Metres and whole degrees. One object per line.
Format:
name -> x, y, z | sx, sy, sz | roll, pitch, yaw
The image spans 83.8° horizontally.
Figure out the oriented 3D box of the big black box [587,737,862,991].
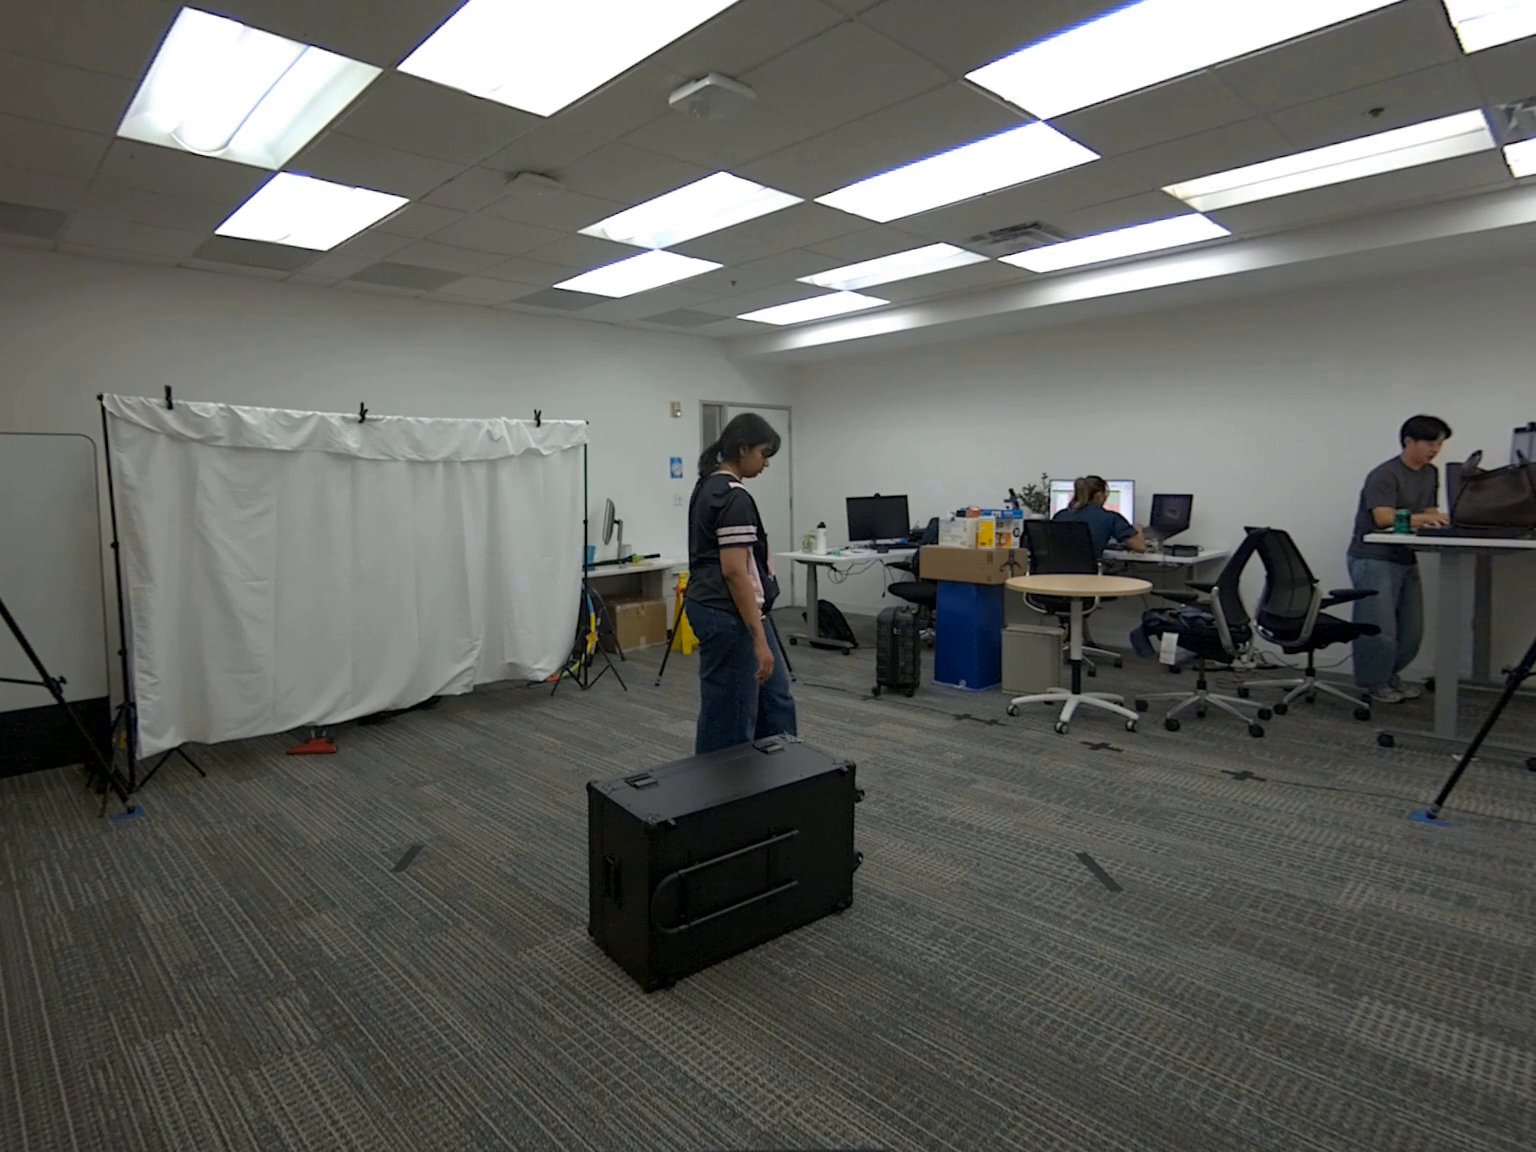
big black box -> -0.099, 0.842, 2.695 | 0.846, 0.521, 0.397 | -5, 7, -37
